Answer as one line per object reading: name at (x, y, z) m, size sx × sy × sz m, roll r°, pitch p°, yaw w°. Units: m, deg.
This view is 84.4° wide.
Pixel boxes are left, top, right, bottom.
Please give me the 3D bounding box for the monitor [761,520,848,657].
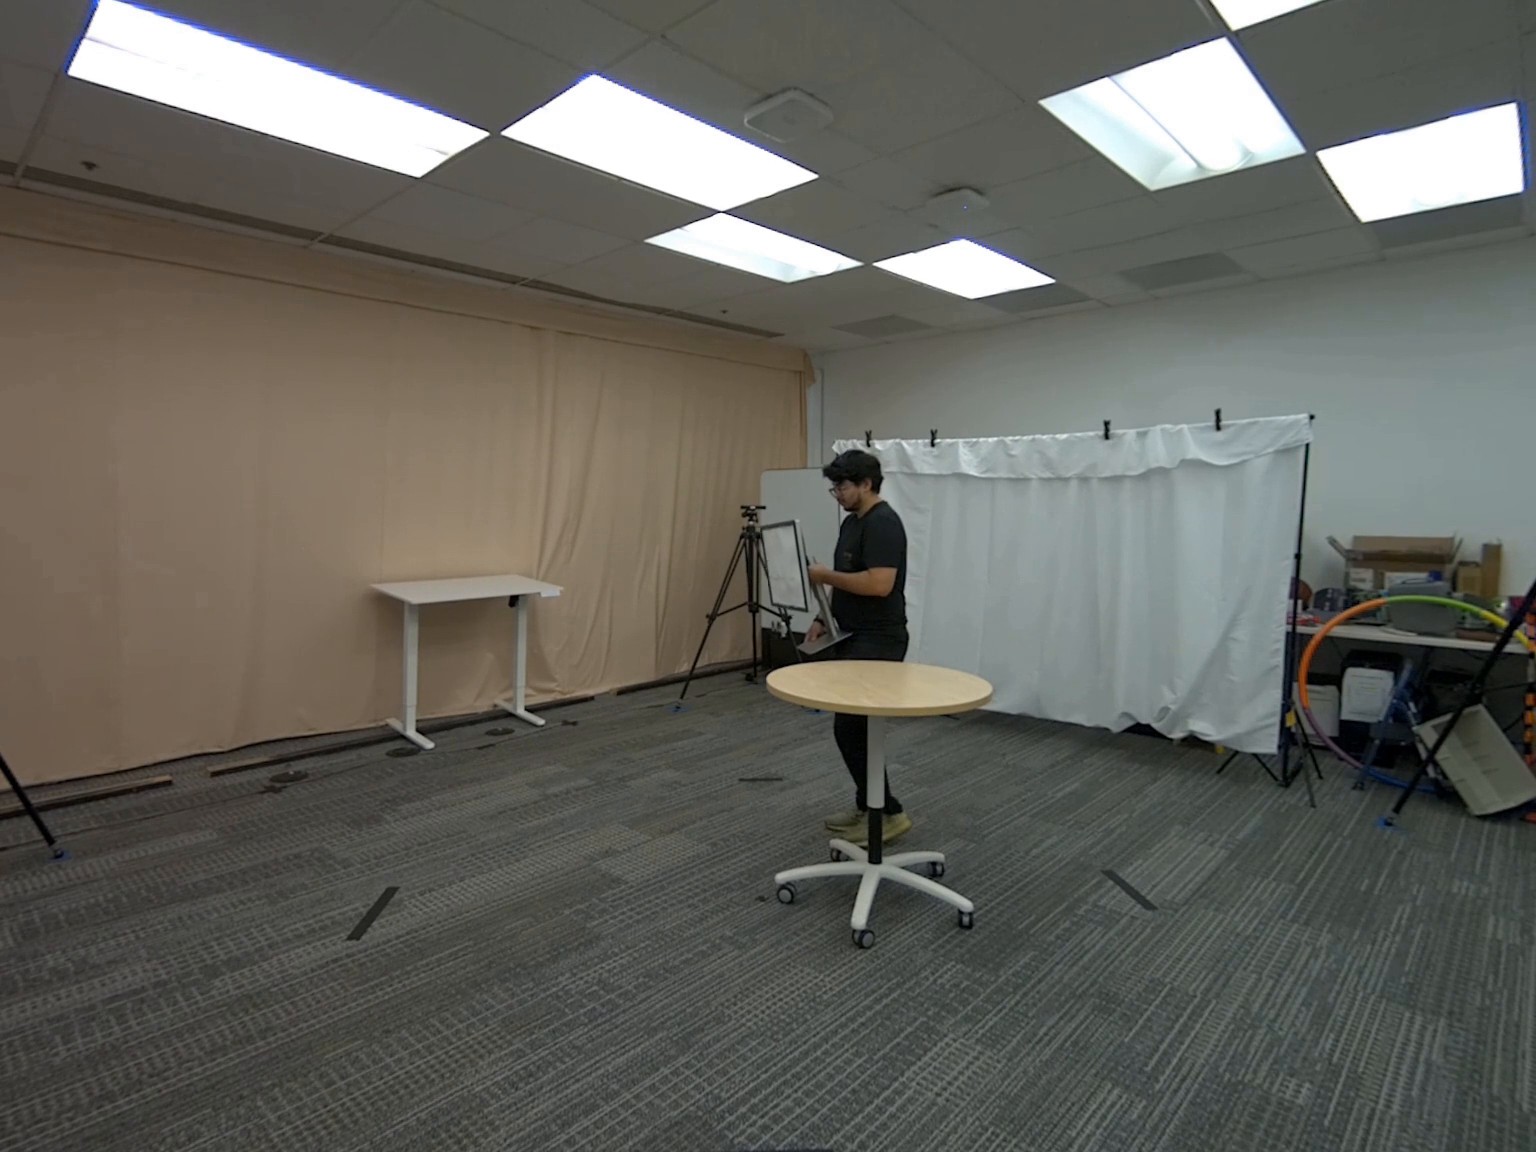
monitor at (0.162, 0.030, 3.548) m, size 0.208 × 0.553 × 0.572 m, roll -17°, pitch 3°, yaw -13°
